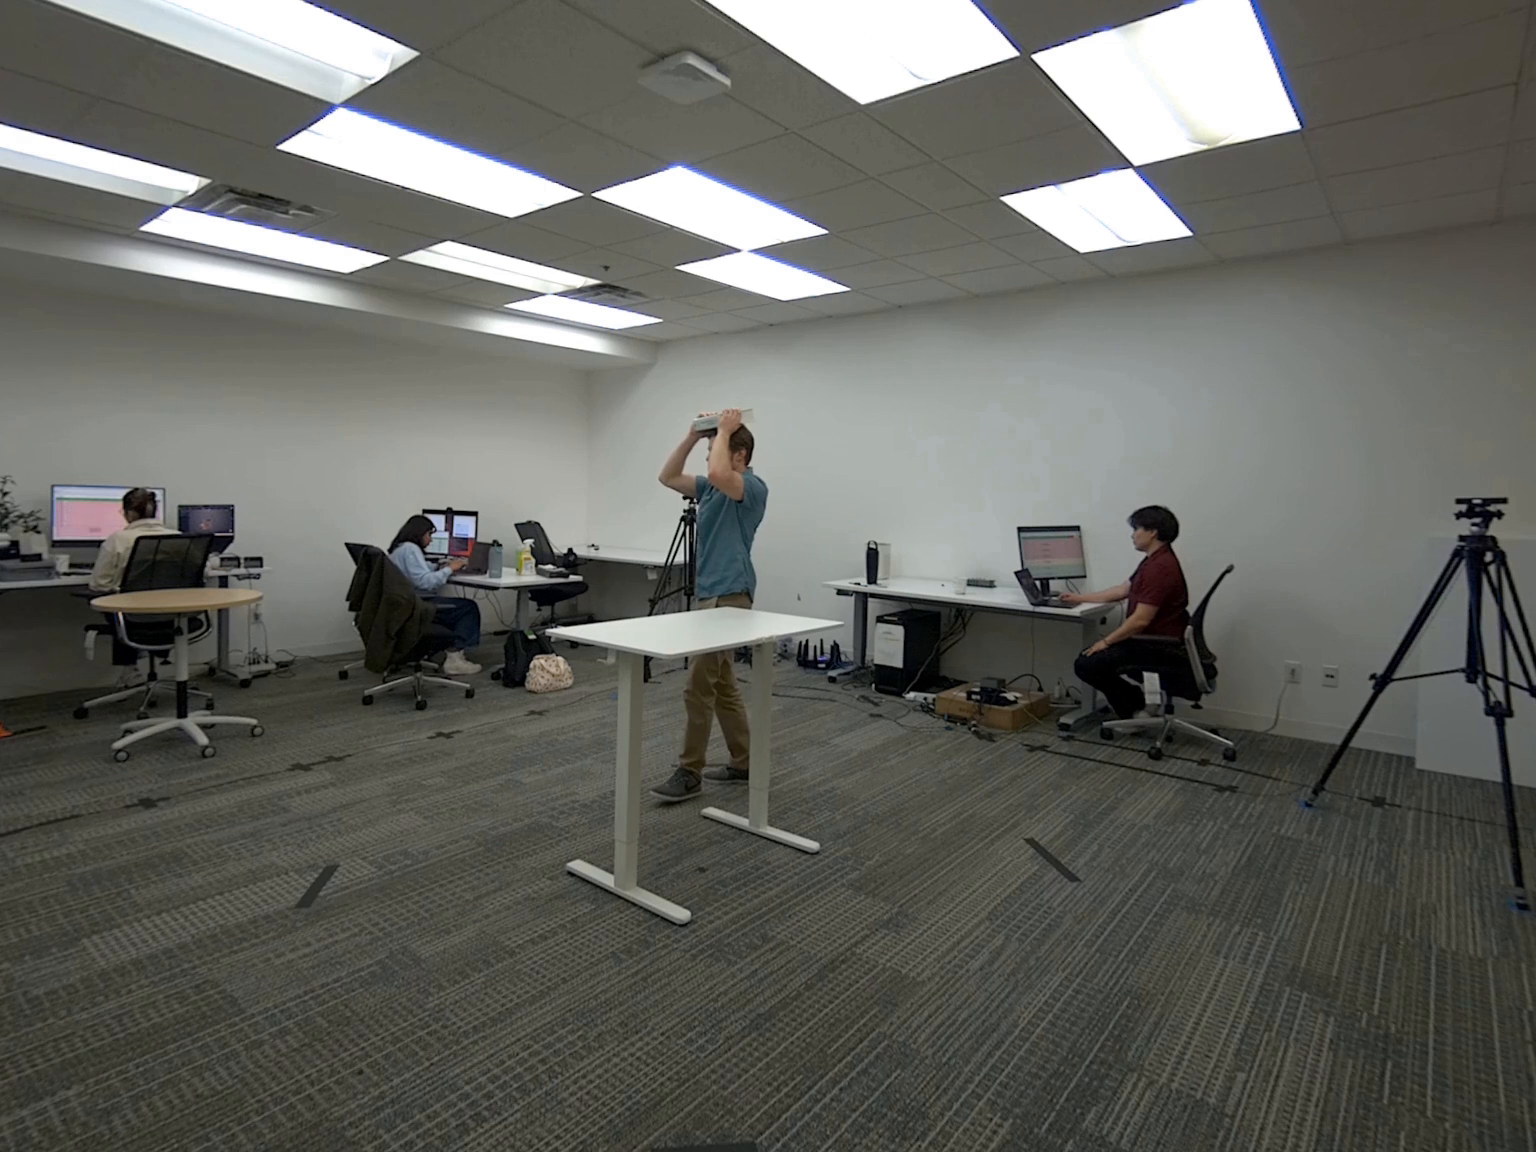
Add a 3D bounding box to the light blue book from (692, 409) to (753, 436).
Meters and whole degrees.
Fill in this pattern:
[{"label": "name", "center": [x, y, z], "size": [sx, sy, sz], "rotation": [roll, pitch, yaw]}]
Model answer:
[{"label": "light blue book", "center": [-0.202, -0.719, 3.907], "size": [0.188, 0.058, 0.268], "rotation": [-15, 11, -26]}]
